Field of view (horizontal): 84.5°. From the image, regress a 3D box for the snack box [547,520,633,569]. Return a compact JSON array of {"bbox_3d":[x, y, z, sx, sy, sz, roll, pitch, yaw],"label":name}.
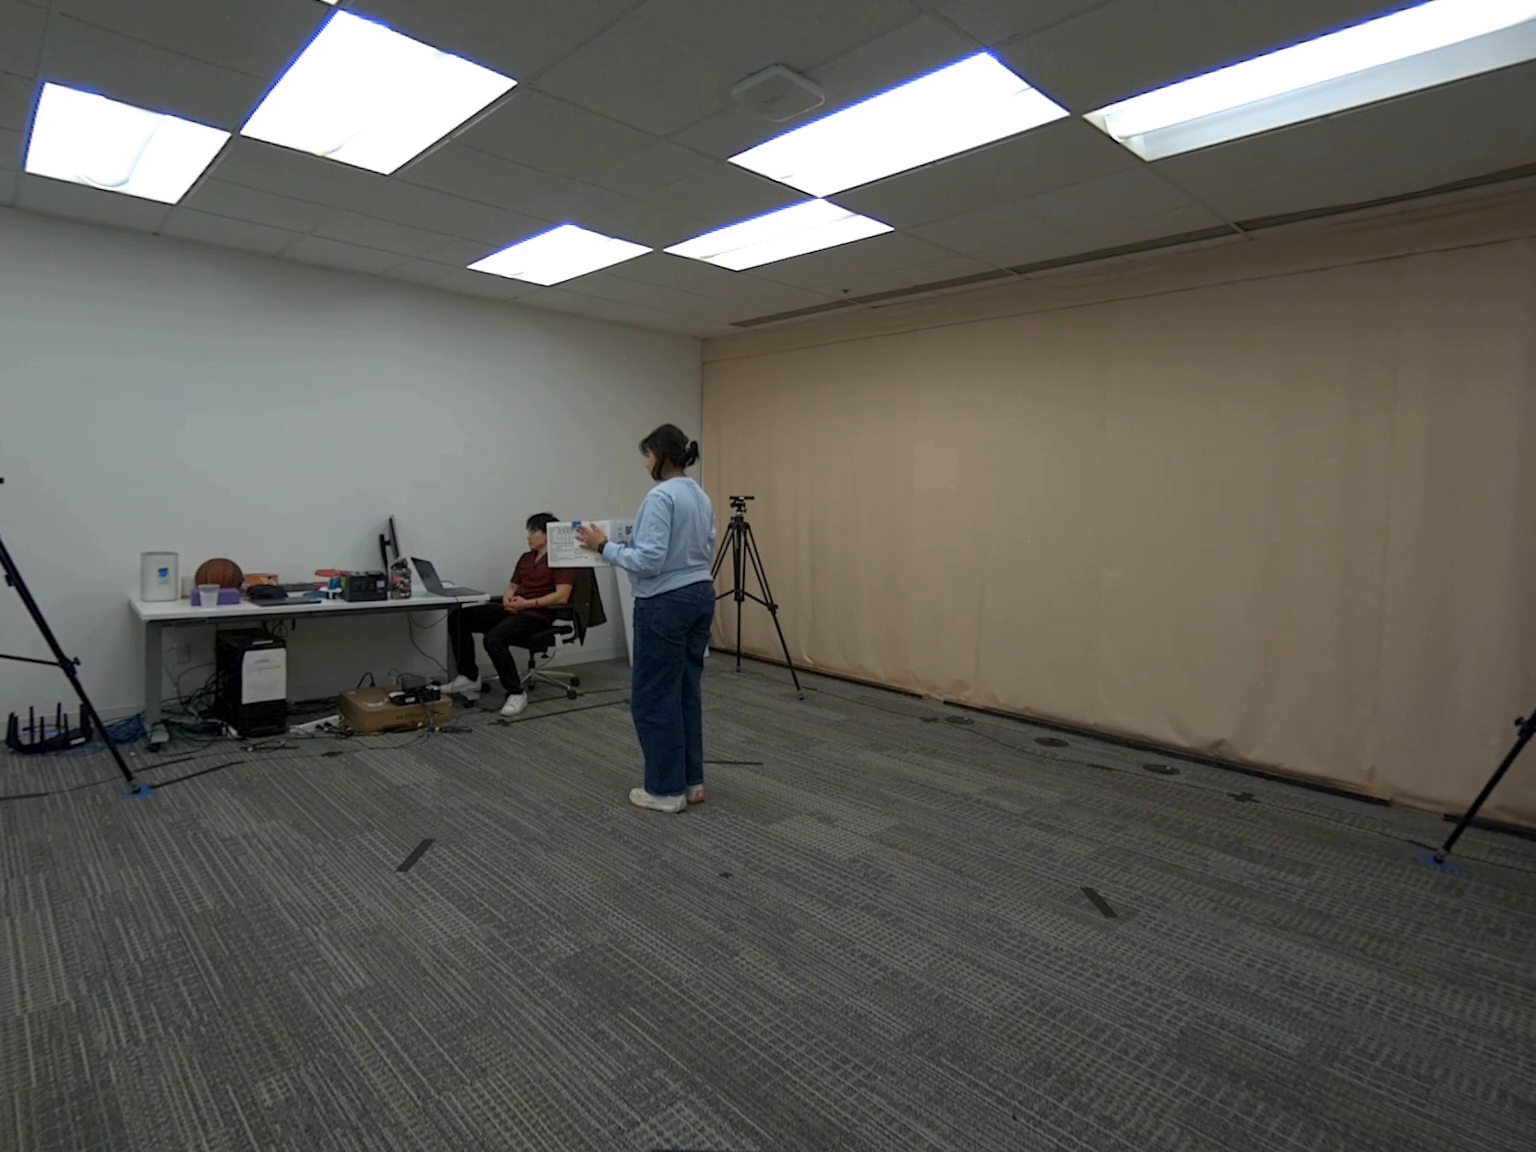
[{"bbox_3d":[-0.764,-0.149,3.890,0.346,0.205,0.399,-1,3,23],"label":"snack box"}]
